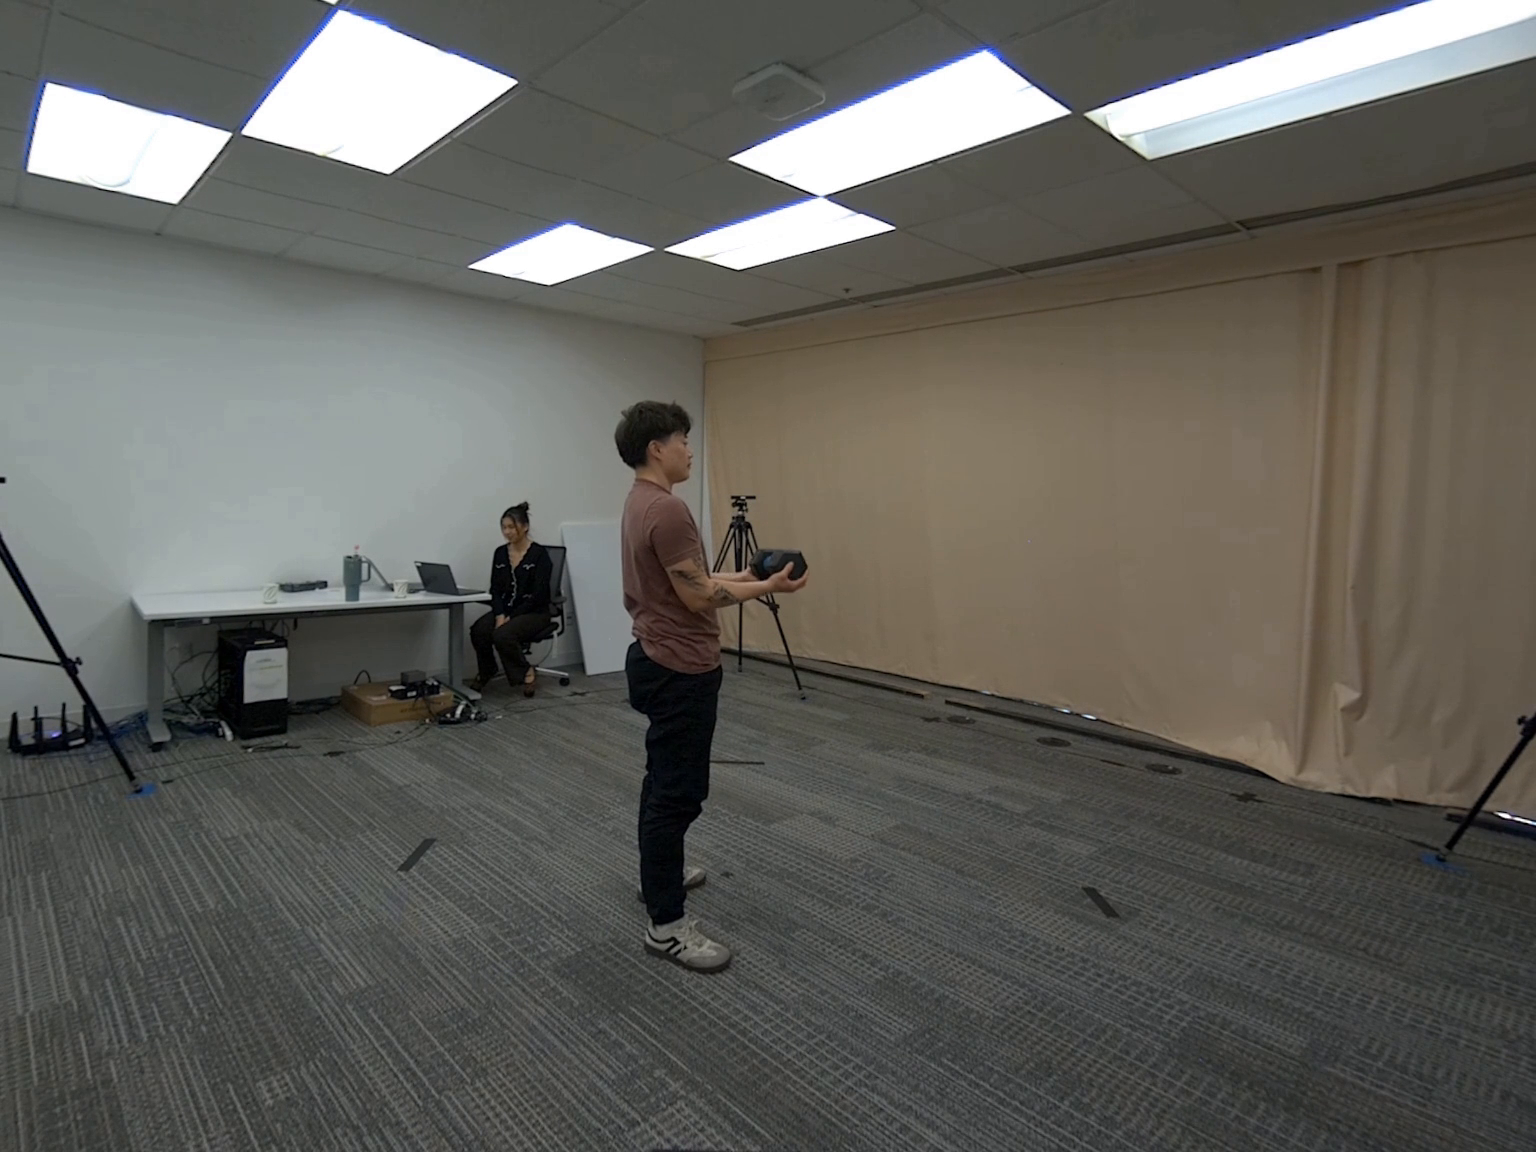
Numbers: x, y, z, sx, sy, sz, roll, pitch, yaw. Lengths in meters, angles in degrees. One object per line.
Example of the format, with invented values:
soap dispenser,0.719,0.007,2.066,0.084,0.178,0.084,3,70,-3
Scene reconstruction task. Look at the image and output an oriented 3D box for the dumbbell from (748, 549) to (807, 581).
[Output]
dumbbell,0.020,-0.035,2.749,0.121,0.108,0.297,3,2,-17
